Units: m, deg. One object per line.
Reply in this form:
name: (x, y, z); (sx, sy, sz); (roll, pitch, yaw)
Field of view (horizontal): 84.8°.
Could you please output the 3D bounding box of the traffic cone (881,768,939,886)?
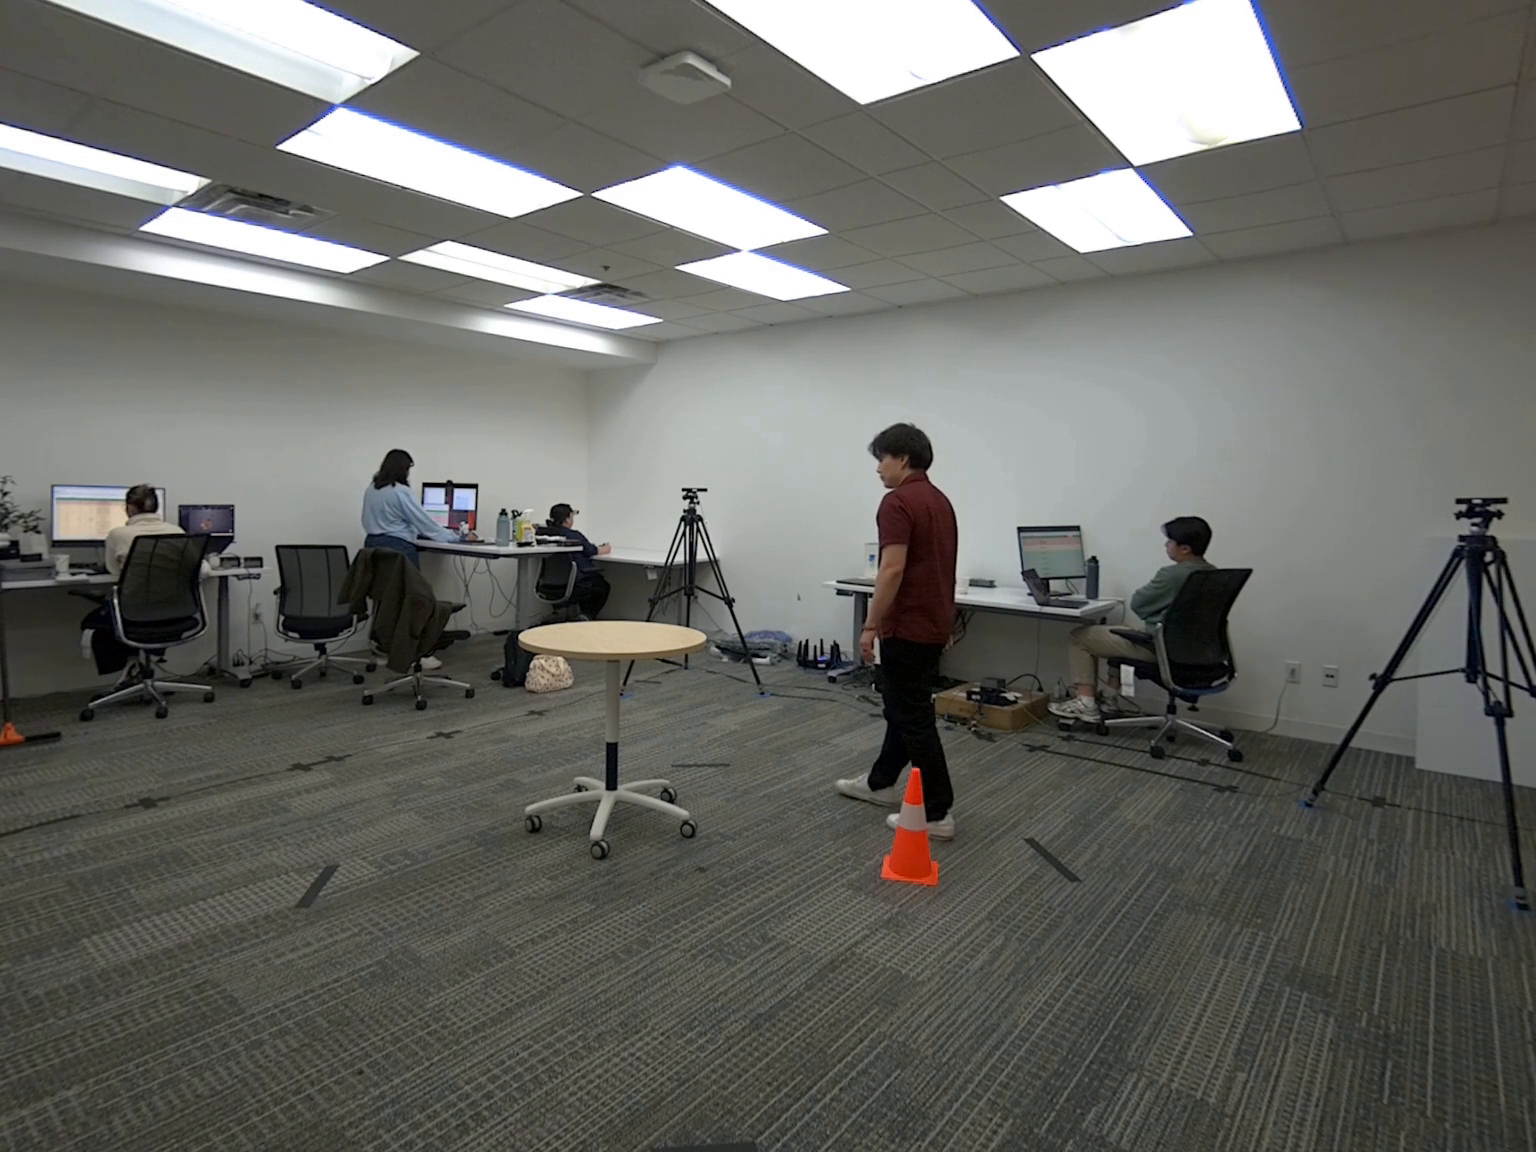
traffic cone: (0.530, 0.897, 3.137); (0.207, 0.382, 0.202); (3, 4, 14)
